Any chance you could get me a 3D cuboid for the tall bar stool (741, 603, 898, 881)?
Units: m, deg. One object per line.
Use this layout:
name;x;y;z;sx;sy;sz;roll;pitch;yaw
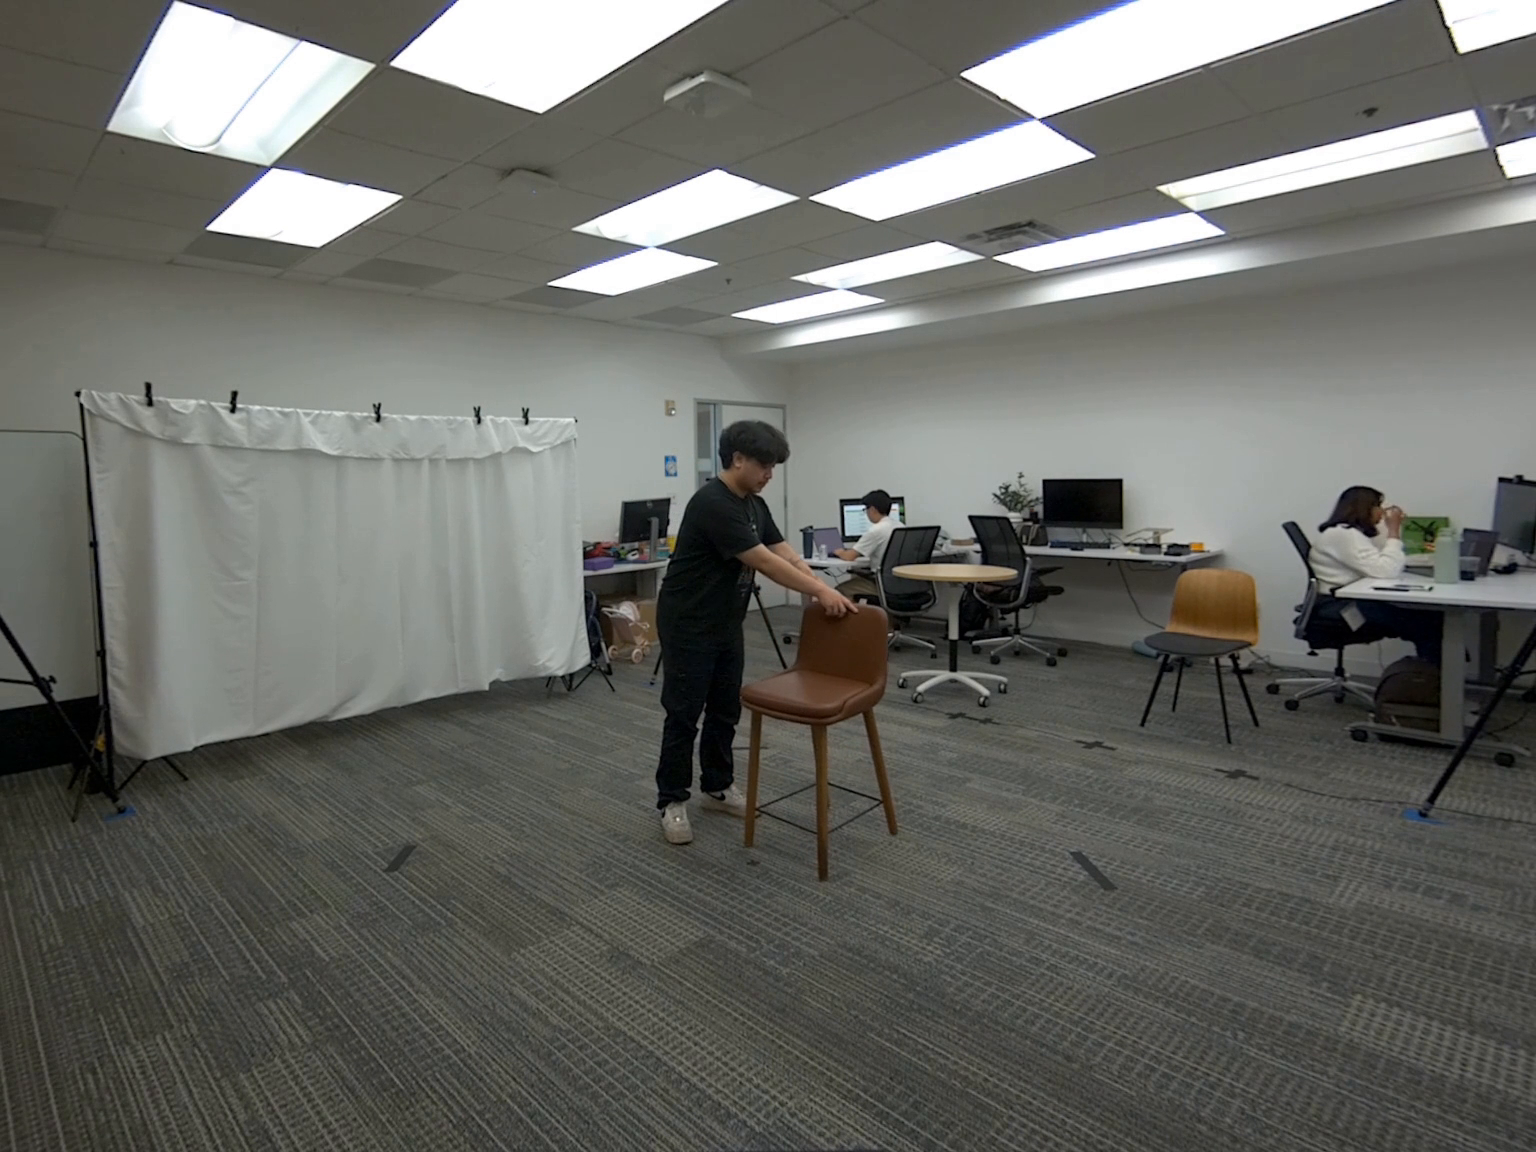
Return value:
tall bar stool;0.191;0.575;3.201;0.456;0.885;0.470;-7;7;-42
